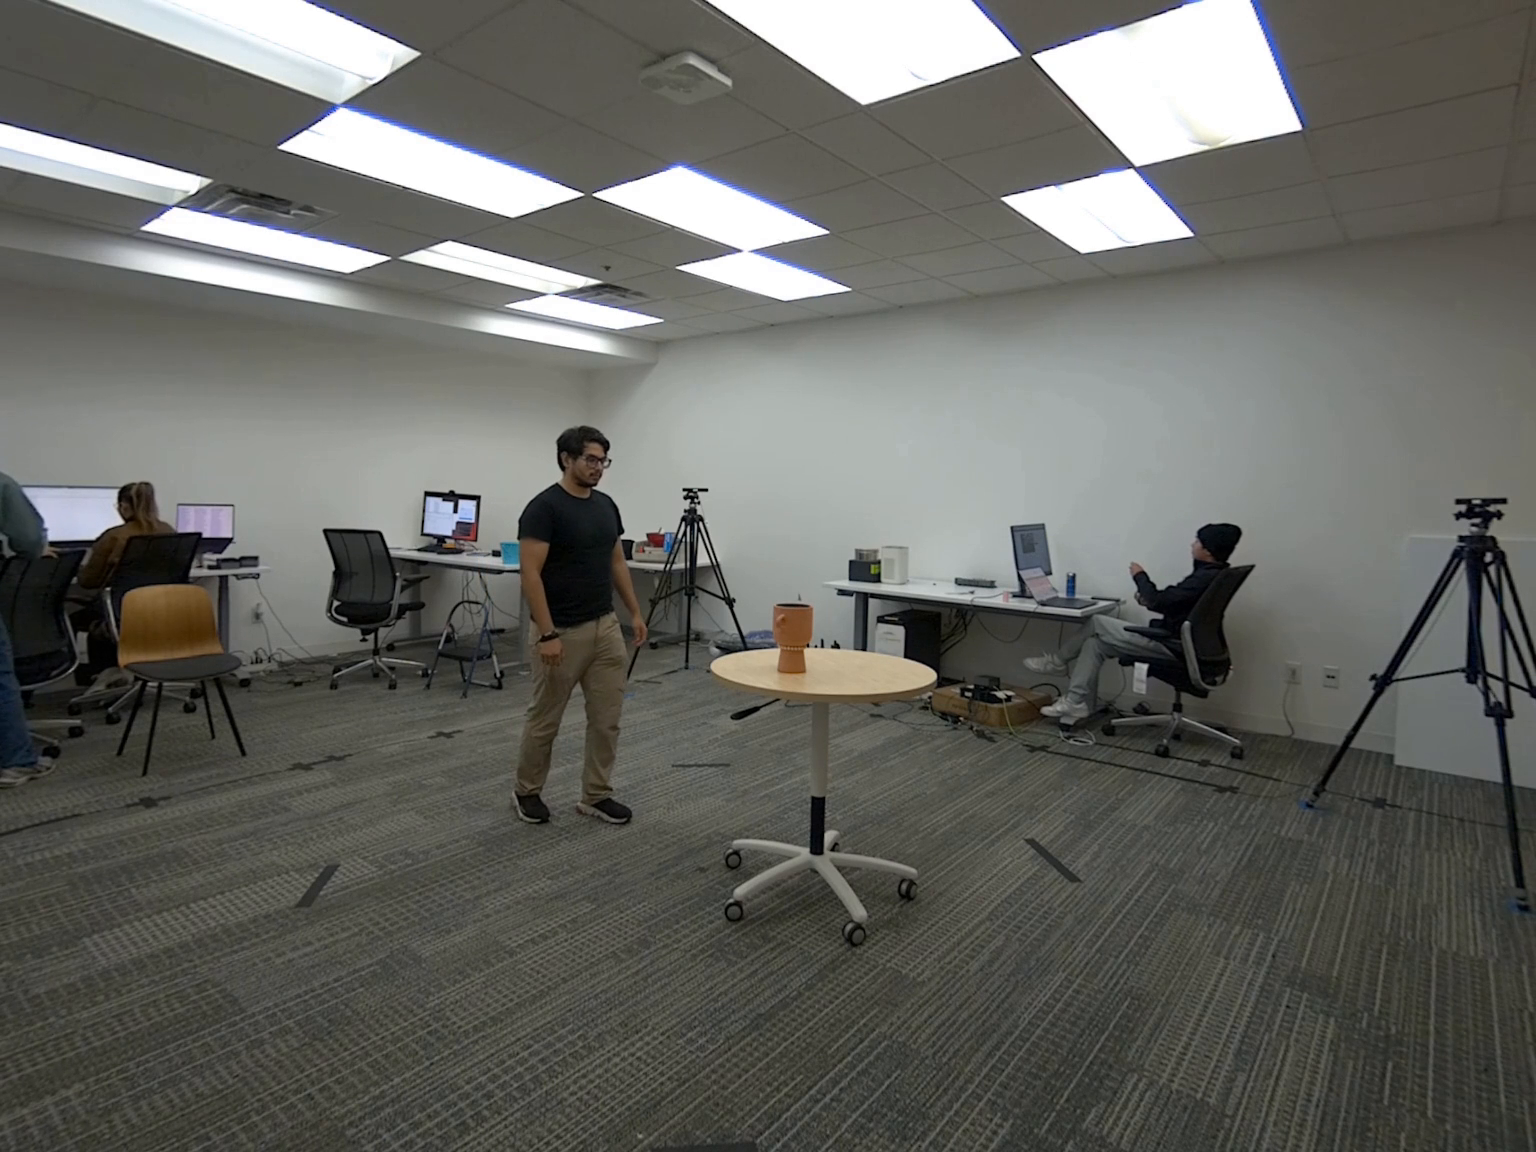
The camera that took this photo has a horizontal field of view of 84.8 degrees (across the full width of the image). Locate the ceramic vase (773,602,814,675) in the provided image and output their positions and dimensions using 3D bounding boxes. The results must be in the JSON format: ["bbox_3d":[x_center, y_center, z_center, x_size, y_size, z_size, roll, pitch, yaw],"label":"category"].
[{"bbox_3d":[0.079,0.208,2.856,0.156,0.219,0.137,-1,4,-16],"label":"ceramic vase"}]
